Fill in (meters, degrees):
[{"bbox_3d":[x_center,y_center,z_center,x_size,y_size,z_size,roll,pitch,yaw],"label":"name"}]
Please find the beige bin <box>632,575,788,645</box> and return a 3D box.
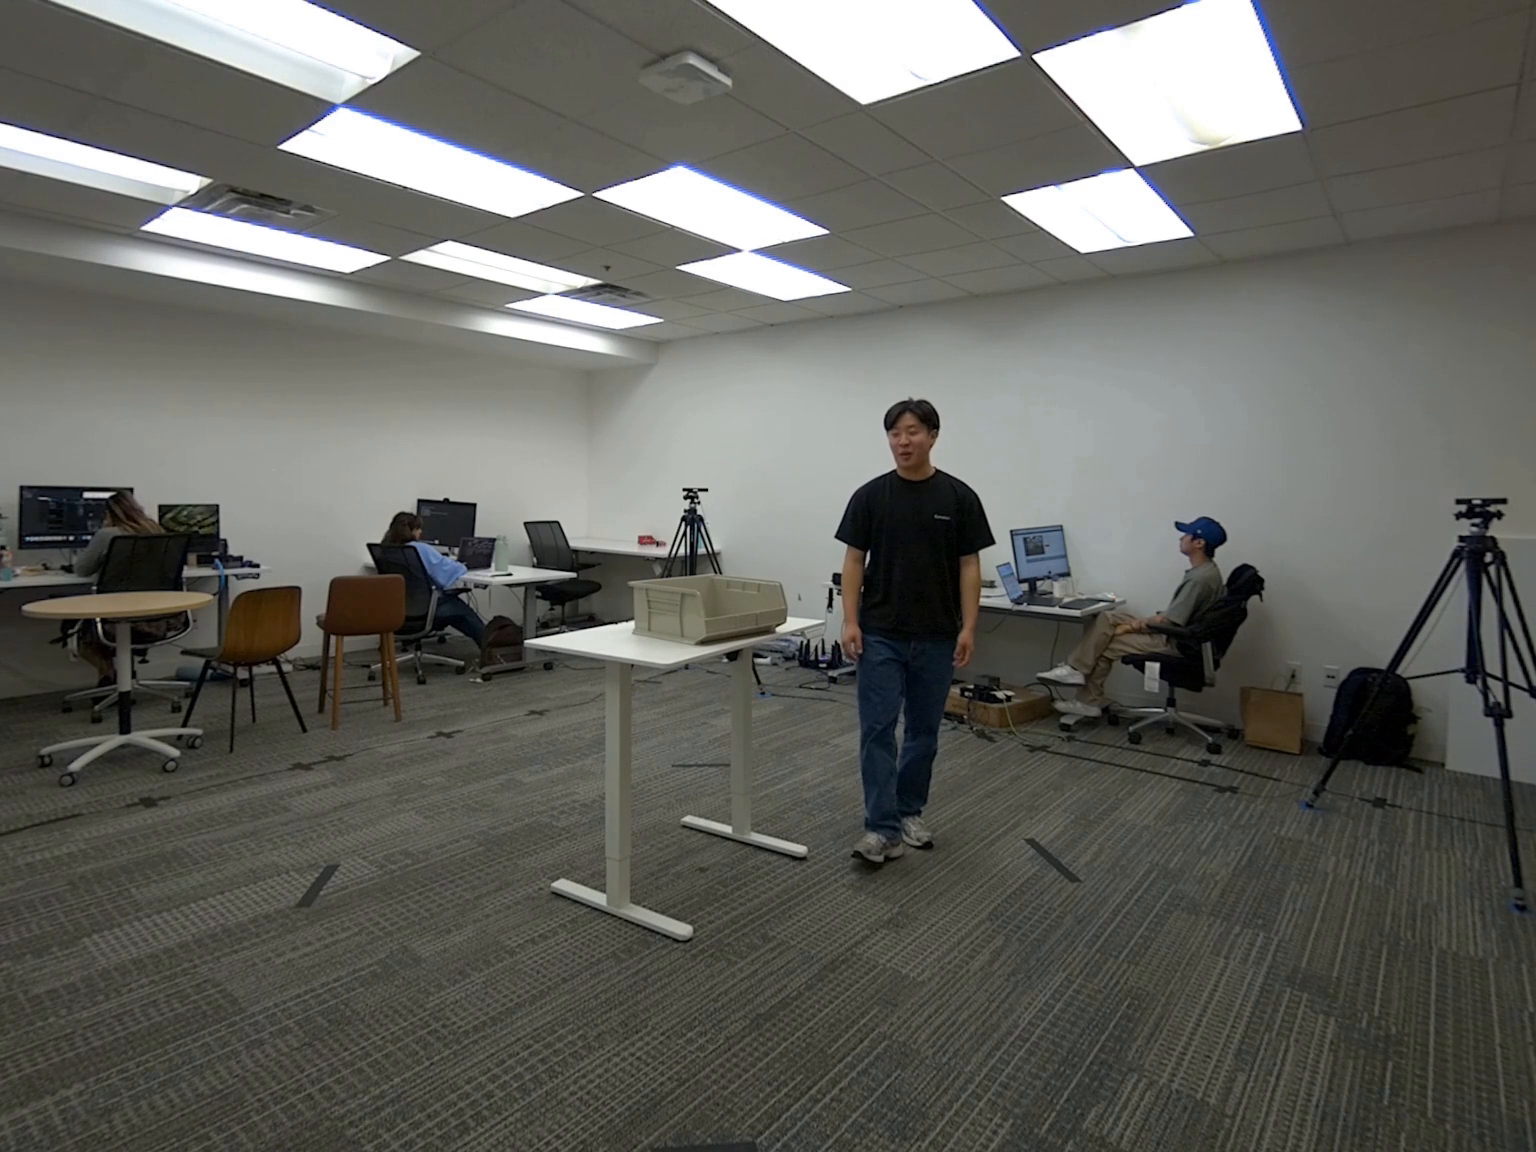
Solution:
[{"bbox_3d":[-0.213,0.110,2.978,0.390,0.188,0.410,4,6,42],"label":"beige bin"}]
